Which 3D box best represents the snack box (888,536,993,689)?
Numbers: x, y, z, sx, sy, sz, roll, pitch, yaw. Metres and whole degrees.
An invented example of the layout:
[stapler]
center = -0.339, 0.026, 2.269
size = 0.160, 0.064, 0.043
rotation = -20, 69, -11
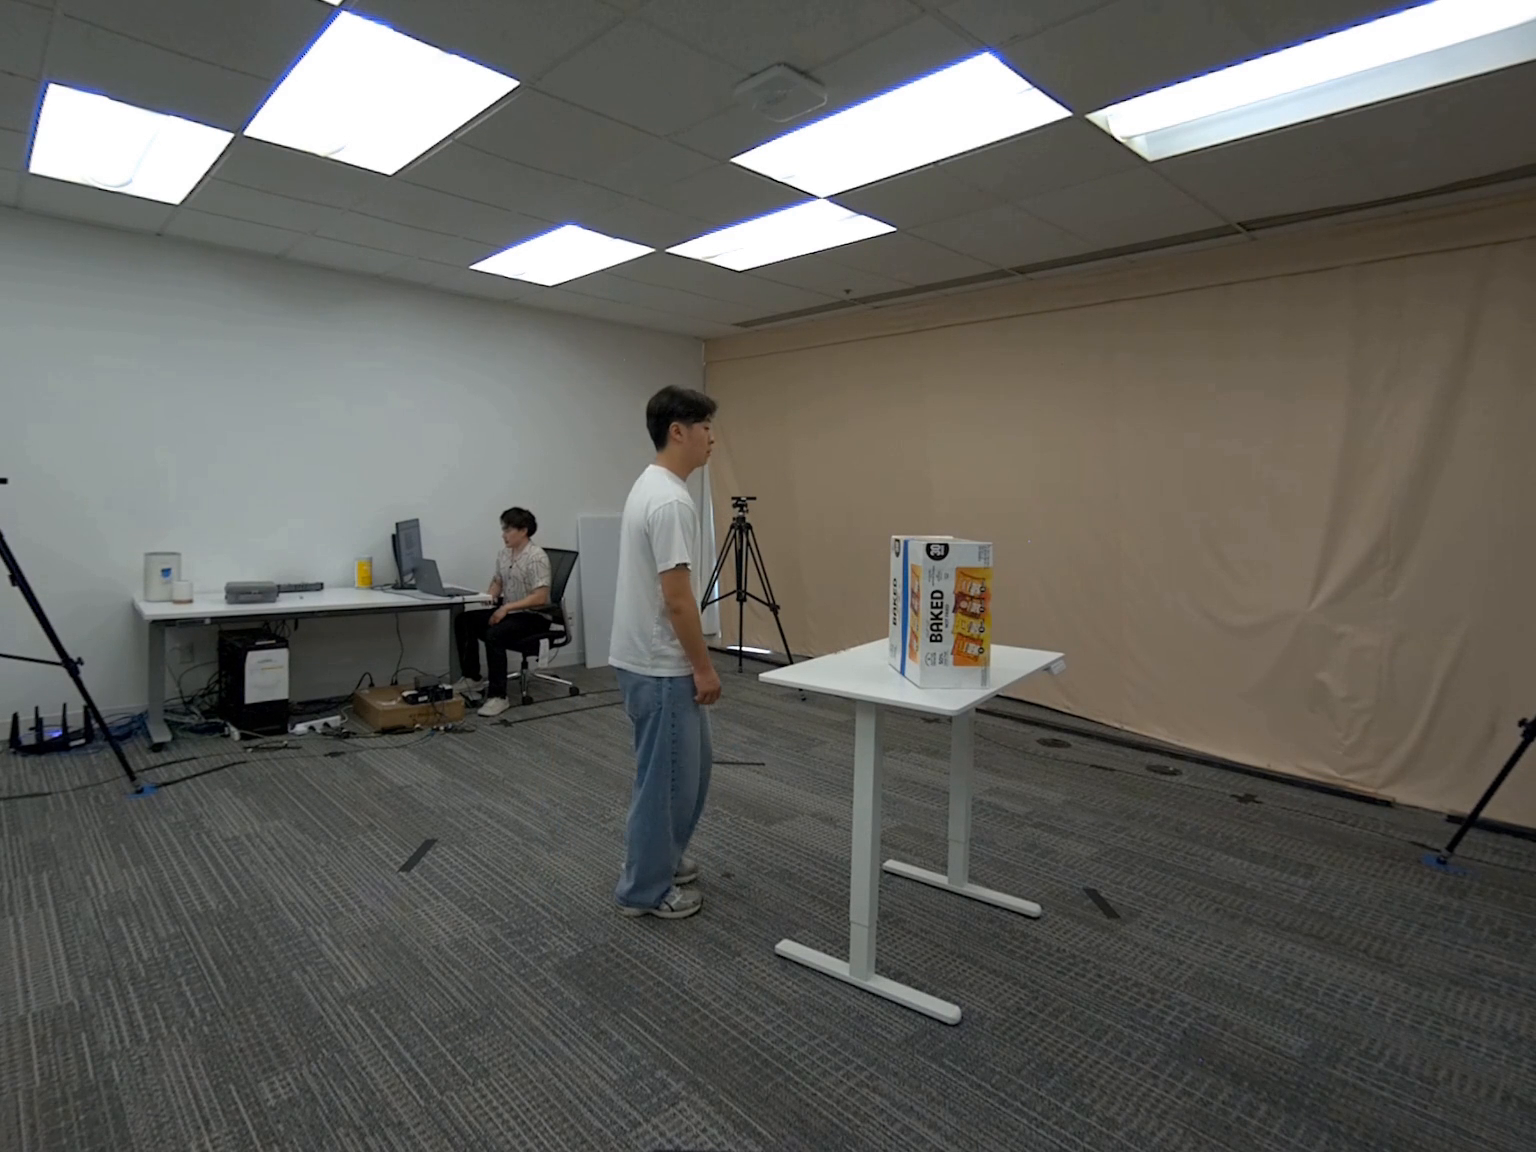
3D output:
[snack box]
center = 0.495, 0.092, 2.484
size = 0.205, 0.404, 0.342
rotation = 1, 3, -5
